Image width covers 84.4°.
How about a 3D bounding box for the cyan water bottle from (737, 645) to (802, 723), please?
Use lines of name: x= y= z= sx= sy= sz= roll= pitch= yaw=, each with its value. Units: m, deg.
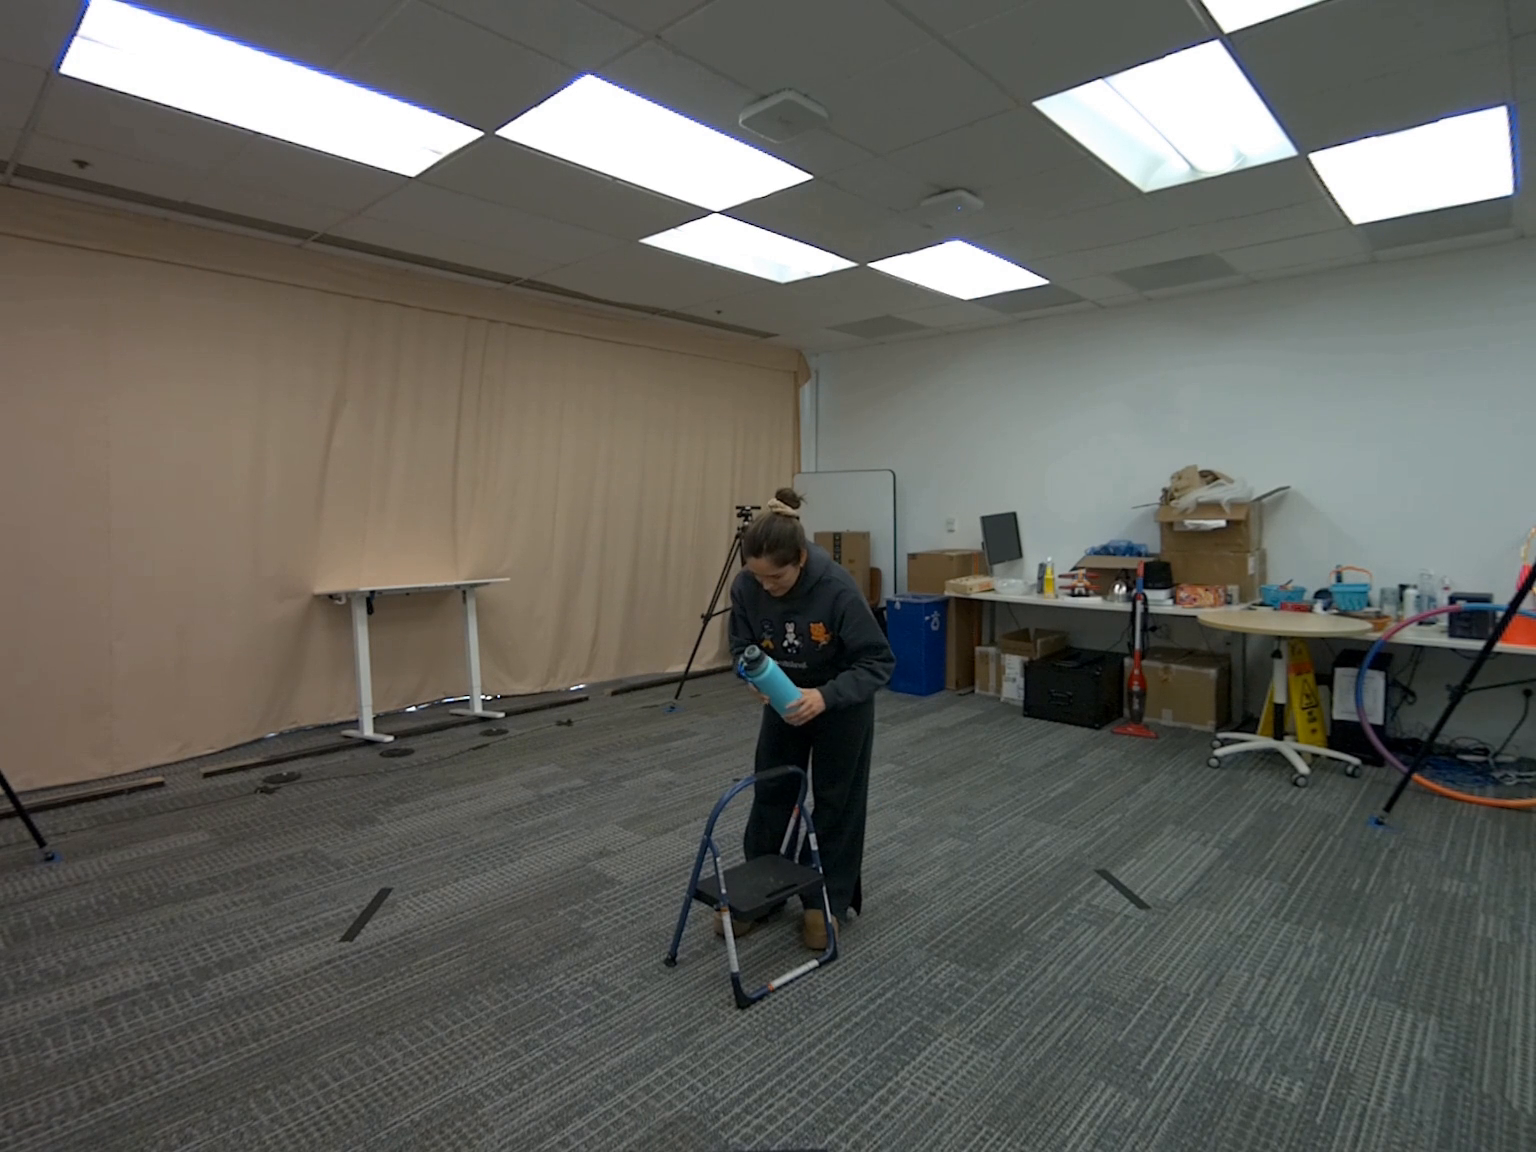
cyan water bottle: x=0.025 y=0.319 z=2.403 sx=0.095 sy=0.092 sz=0.274 roll=4 pitch=-34 yaw=50
